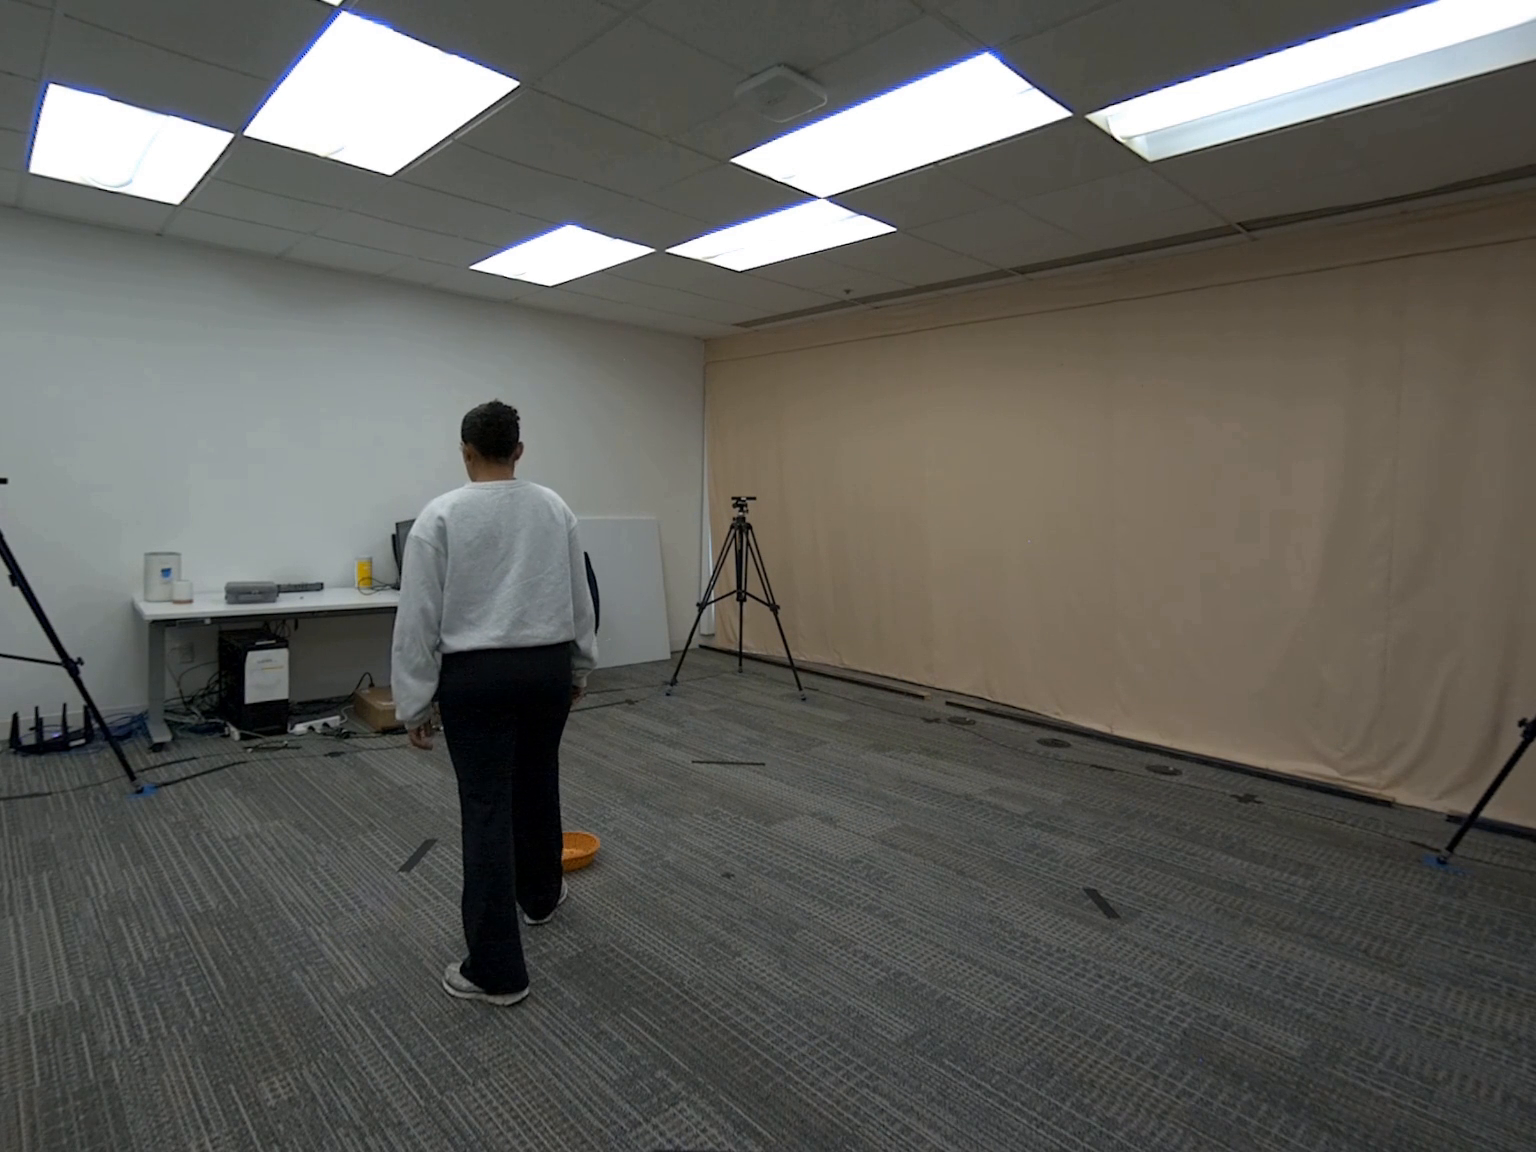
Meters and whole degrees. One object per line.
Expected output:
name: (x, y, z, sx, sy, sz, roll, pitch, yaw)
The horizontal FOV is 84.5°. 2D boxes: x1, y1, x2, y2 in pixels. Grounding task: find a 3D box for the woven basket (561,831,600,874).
woven basket: (-0.813, 1.046, 3.146, 0.343, 0.073, 0.258, -1, 6, -34)
